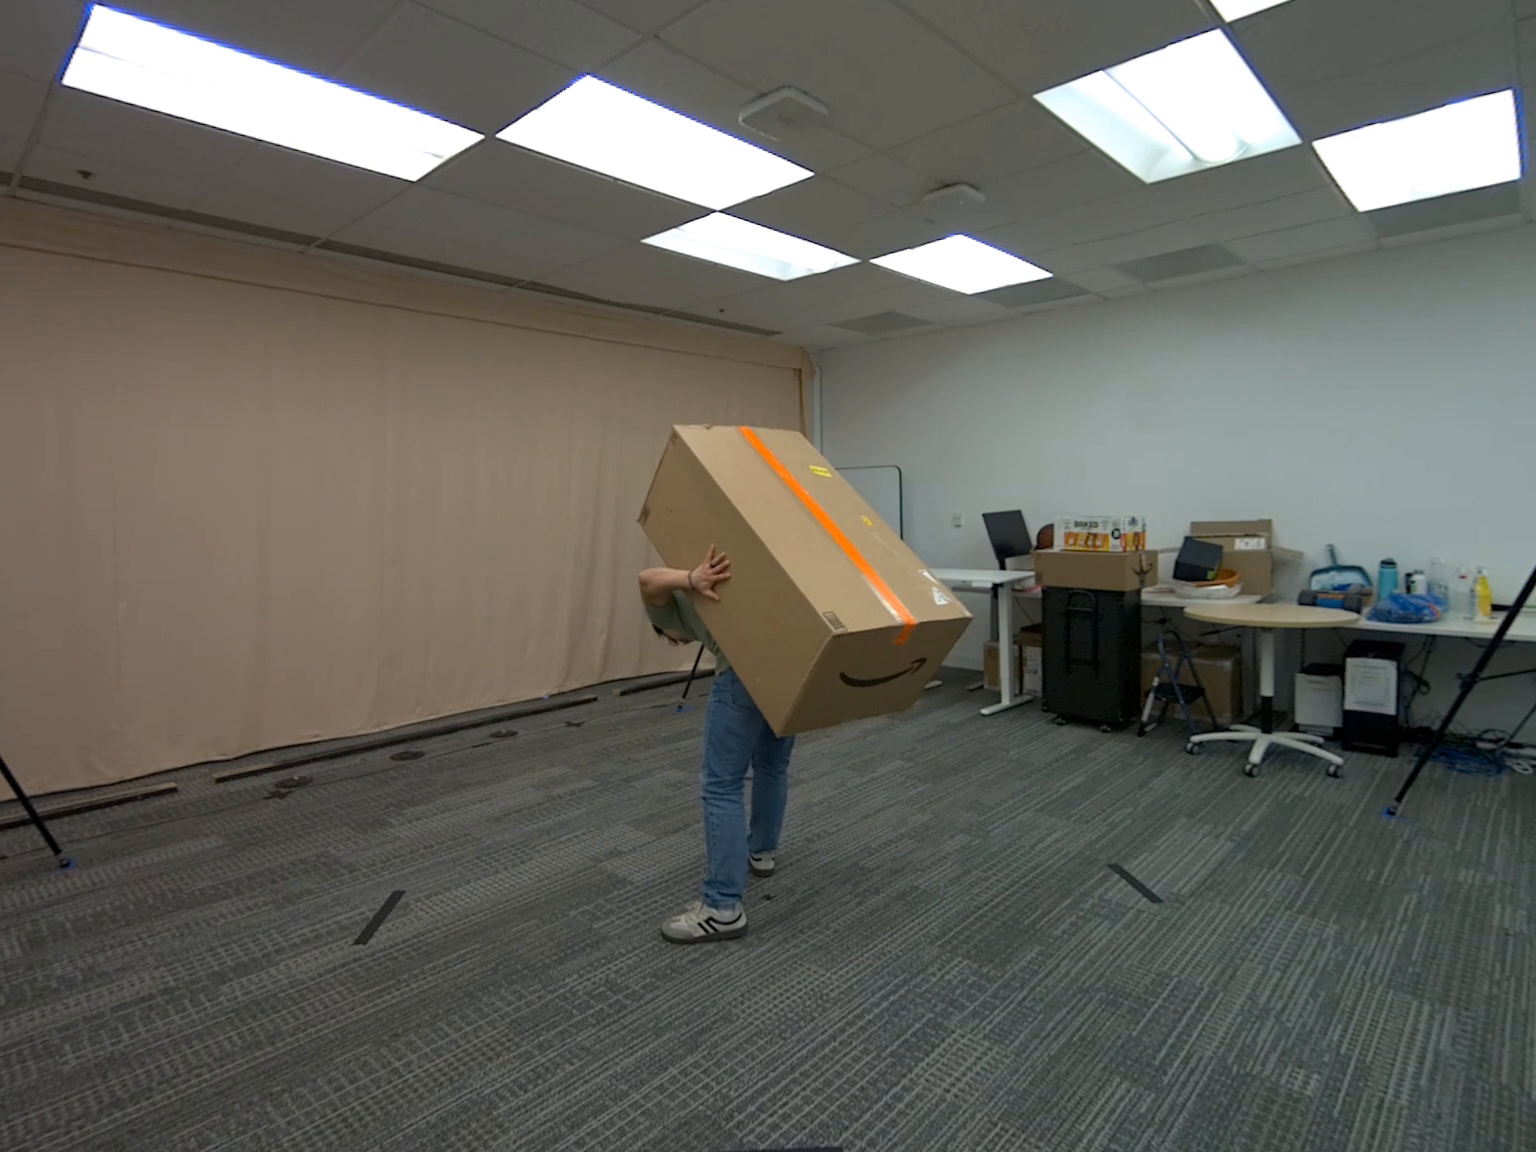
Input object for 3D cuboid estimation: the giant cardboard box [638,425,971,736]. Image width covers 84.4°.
[{"bbox_3d":[0.081,-0.039,2.827,0.561,0.425,1.060,-4,42,-37],"label":"giant cardboard box"}]
